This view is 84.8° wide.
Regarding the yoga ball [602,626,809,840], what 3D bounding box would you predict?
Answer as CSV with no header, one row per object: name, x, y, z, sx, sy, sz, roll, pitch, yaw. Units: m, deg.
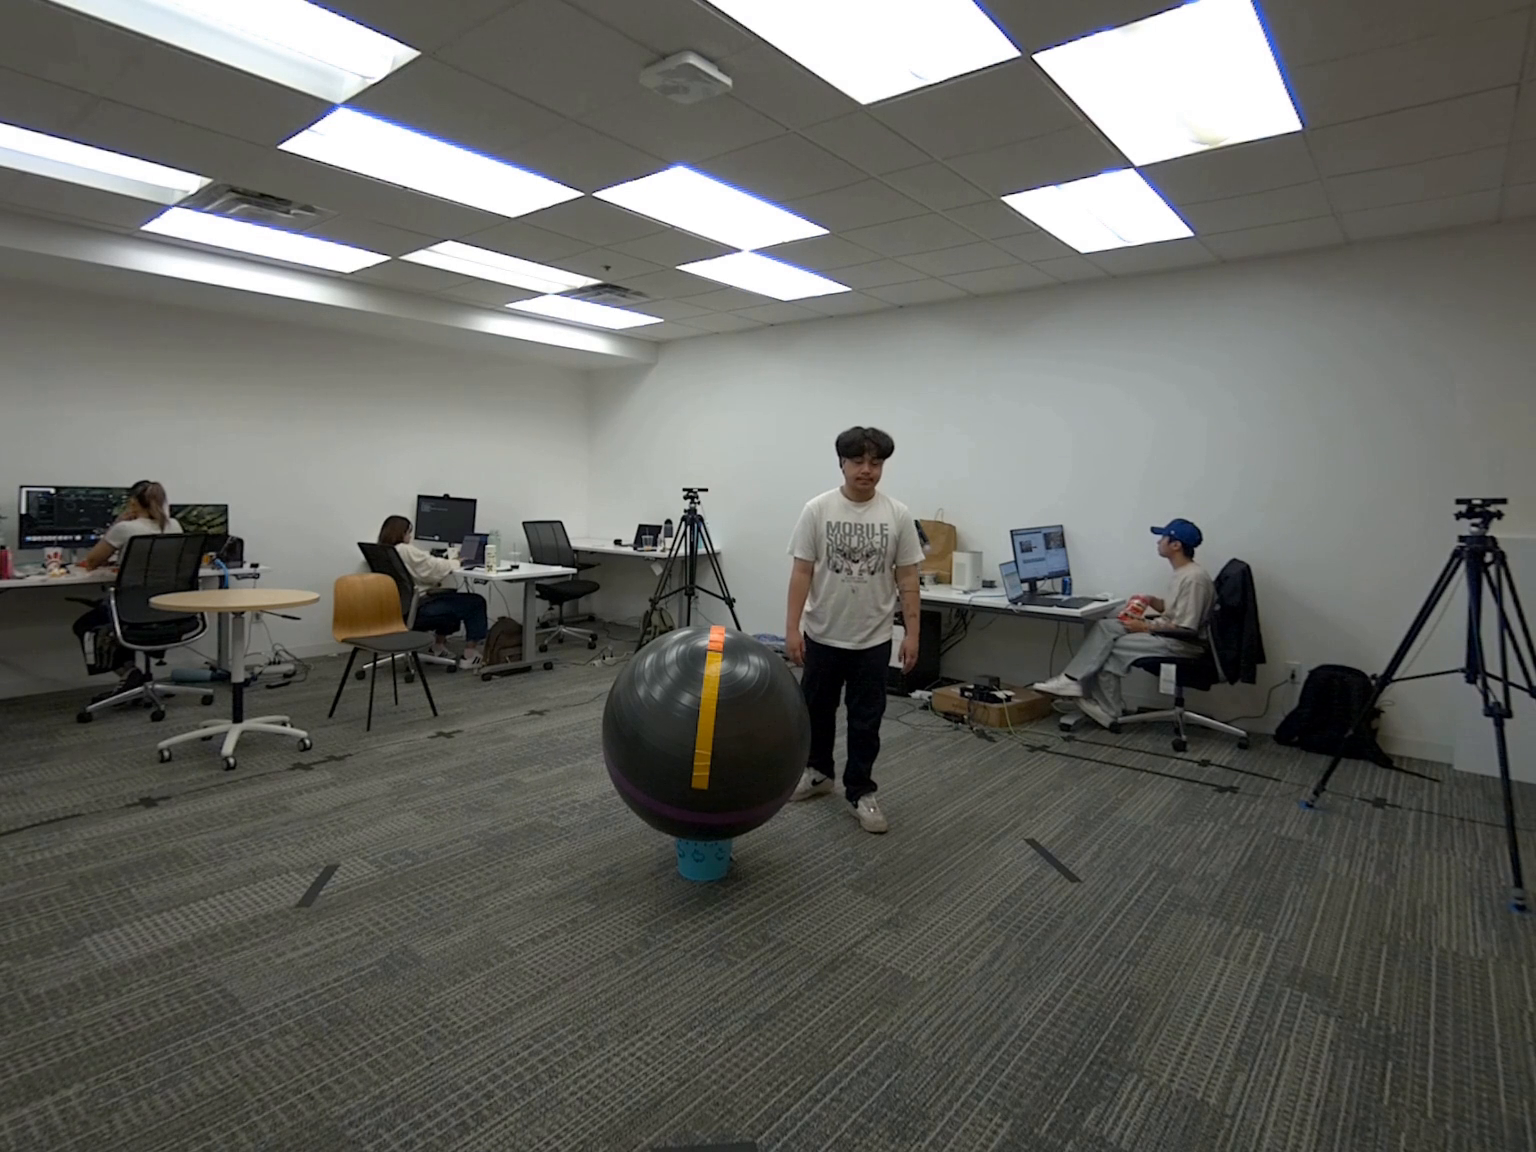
yoga ball,-0.228,0.557,3.085,0.757,0.756,0.761,1,4,-2
